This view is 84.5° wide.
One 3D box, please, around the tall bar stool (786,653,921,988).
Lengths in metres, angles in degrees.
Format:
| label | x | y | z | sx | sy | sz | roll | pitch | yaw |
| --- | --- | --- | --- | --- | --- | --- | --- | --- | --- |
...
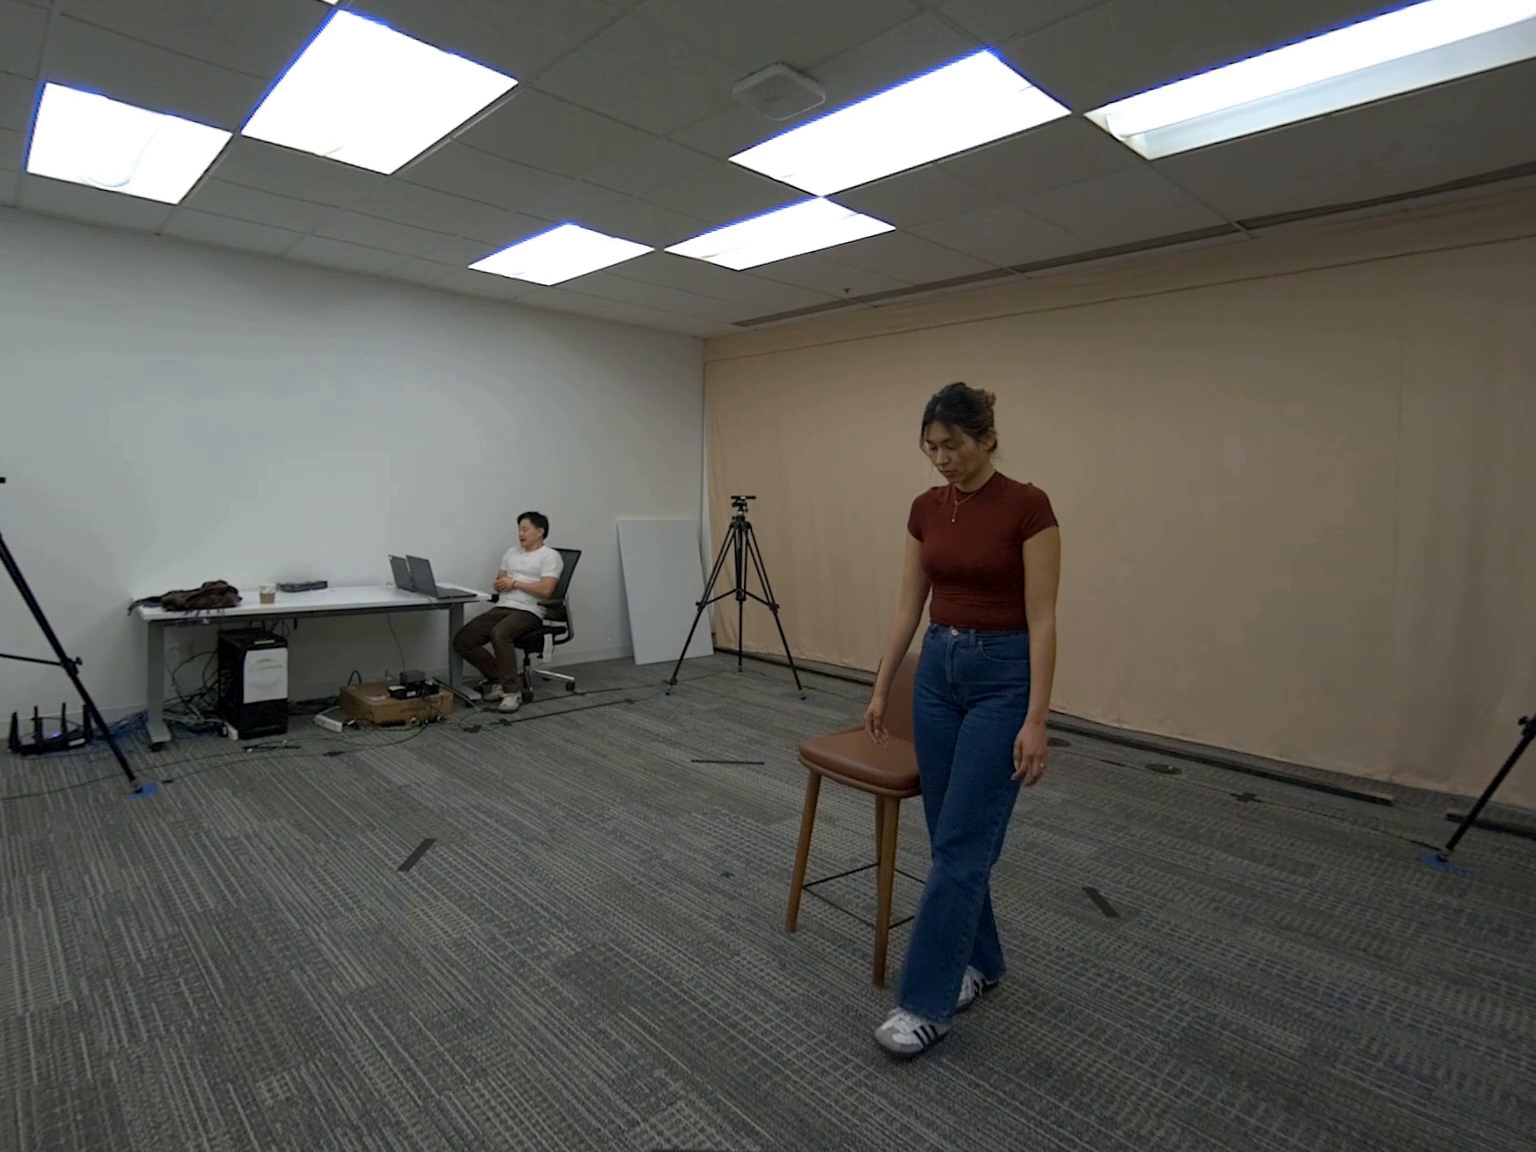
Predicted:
| label | x | y | z | sx | sy | sz | roll | pitch | yaw |
| --- | --- | --- | --- | --- | --- | --- | --- | --- | --- |
| tall bar stool | 0.366 | 0.719 | 2.674 | 0.456 | 0.888 | 0.468 | 2 | 3 | -40 |
